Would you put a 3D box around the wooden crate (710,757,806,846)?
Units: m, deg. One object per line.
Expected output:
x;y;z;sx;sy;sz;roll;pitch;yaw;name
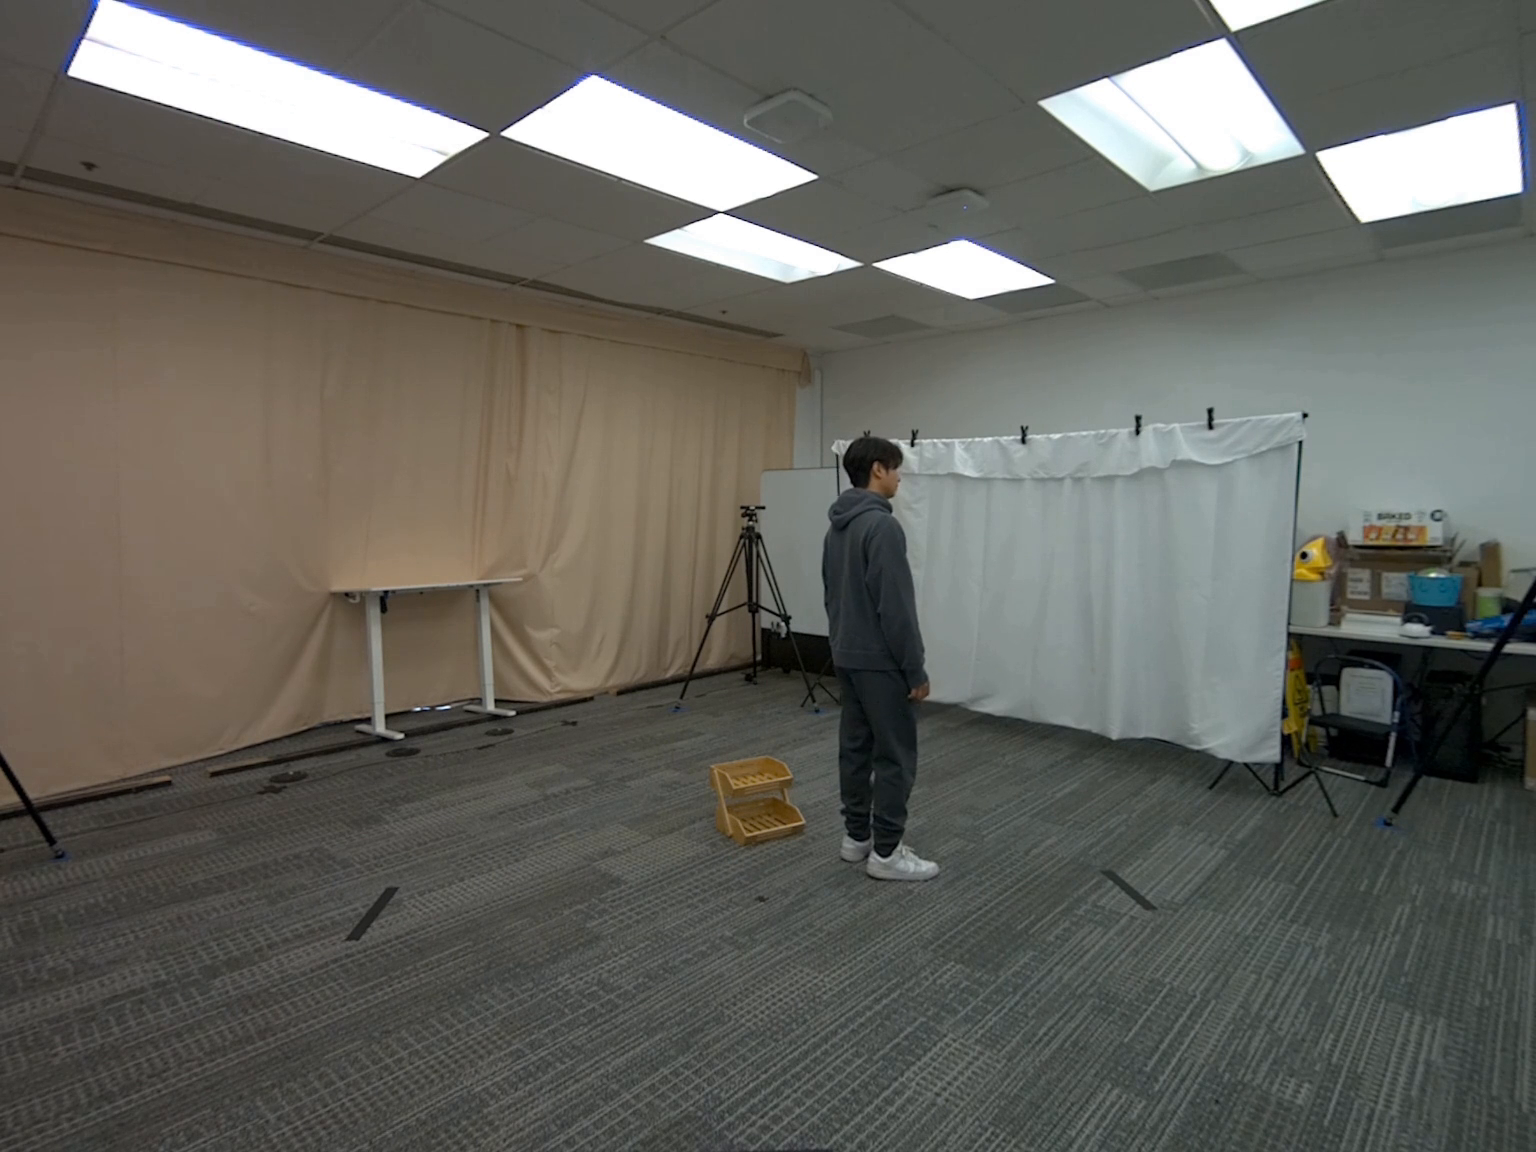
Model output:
-0.044;0.956;3.631;0.315;0.273;0.311;-3;3;-31;wooden crate
